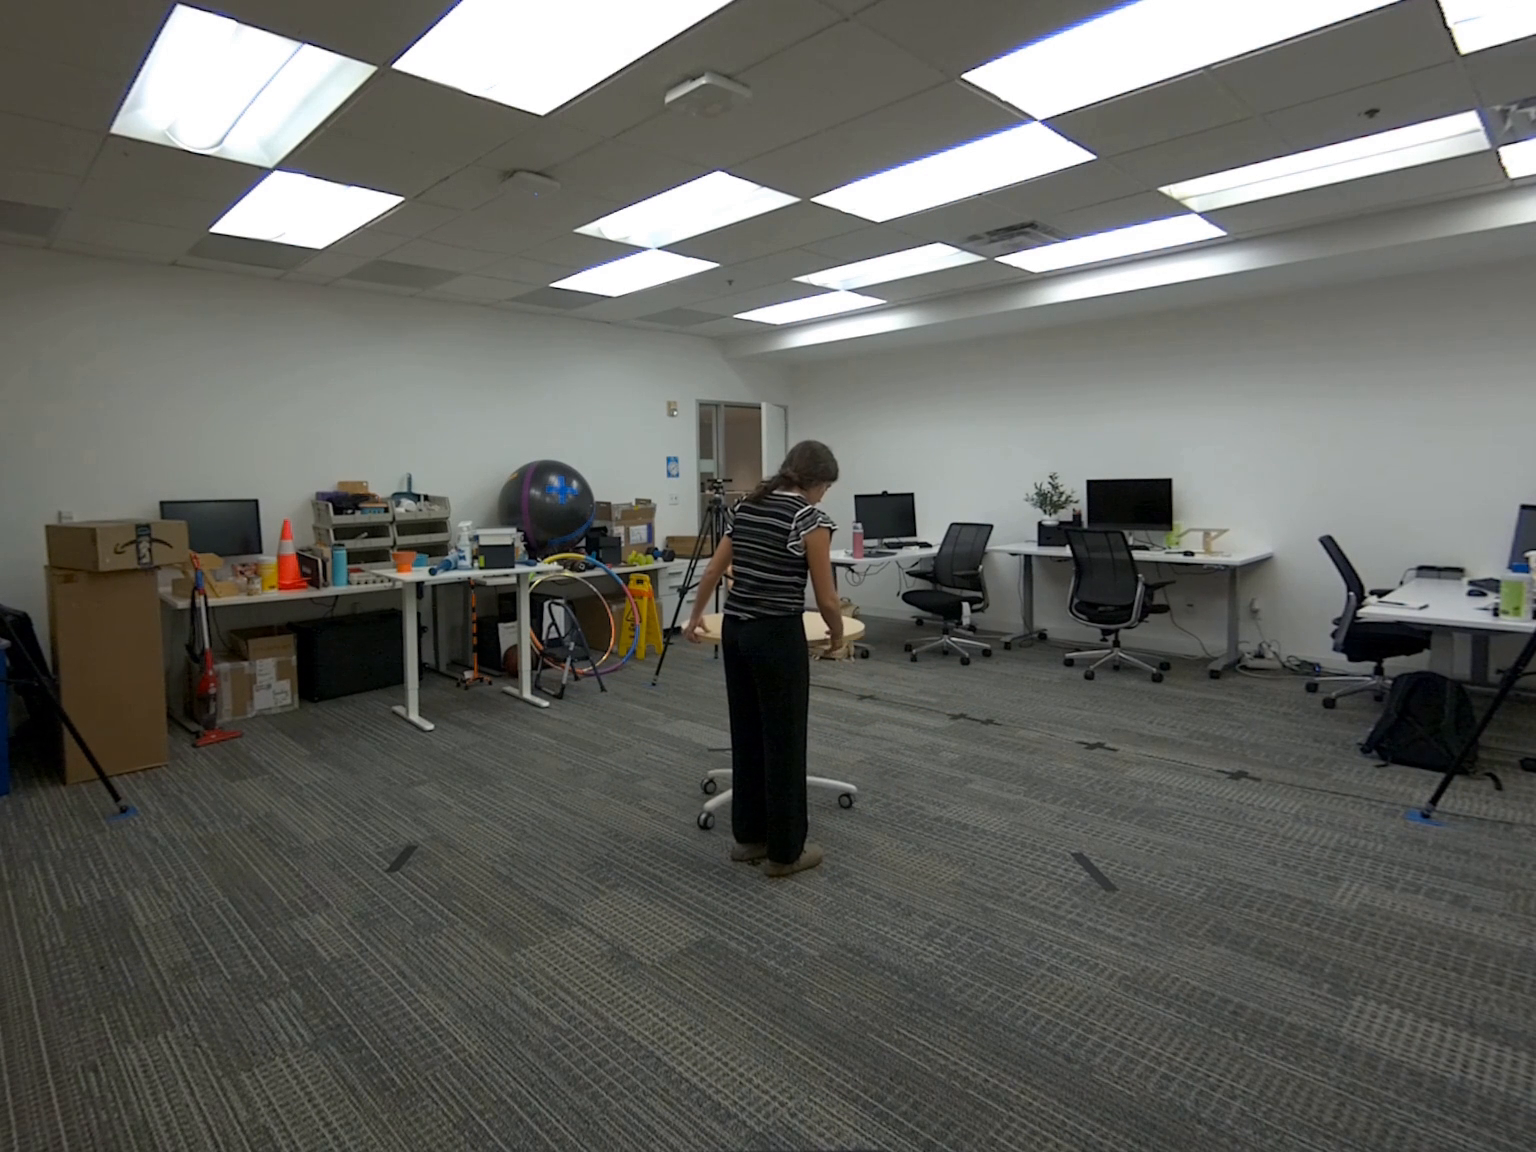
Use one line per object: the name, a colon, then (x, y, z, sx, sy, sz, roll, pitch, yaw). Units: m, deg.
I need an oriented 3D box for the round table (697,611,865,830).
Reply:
round table: (0.021, 0.593, 3.596, 0.784, 0.784, 0.789, -1, 5, -2)
